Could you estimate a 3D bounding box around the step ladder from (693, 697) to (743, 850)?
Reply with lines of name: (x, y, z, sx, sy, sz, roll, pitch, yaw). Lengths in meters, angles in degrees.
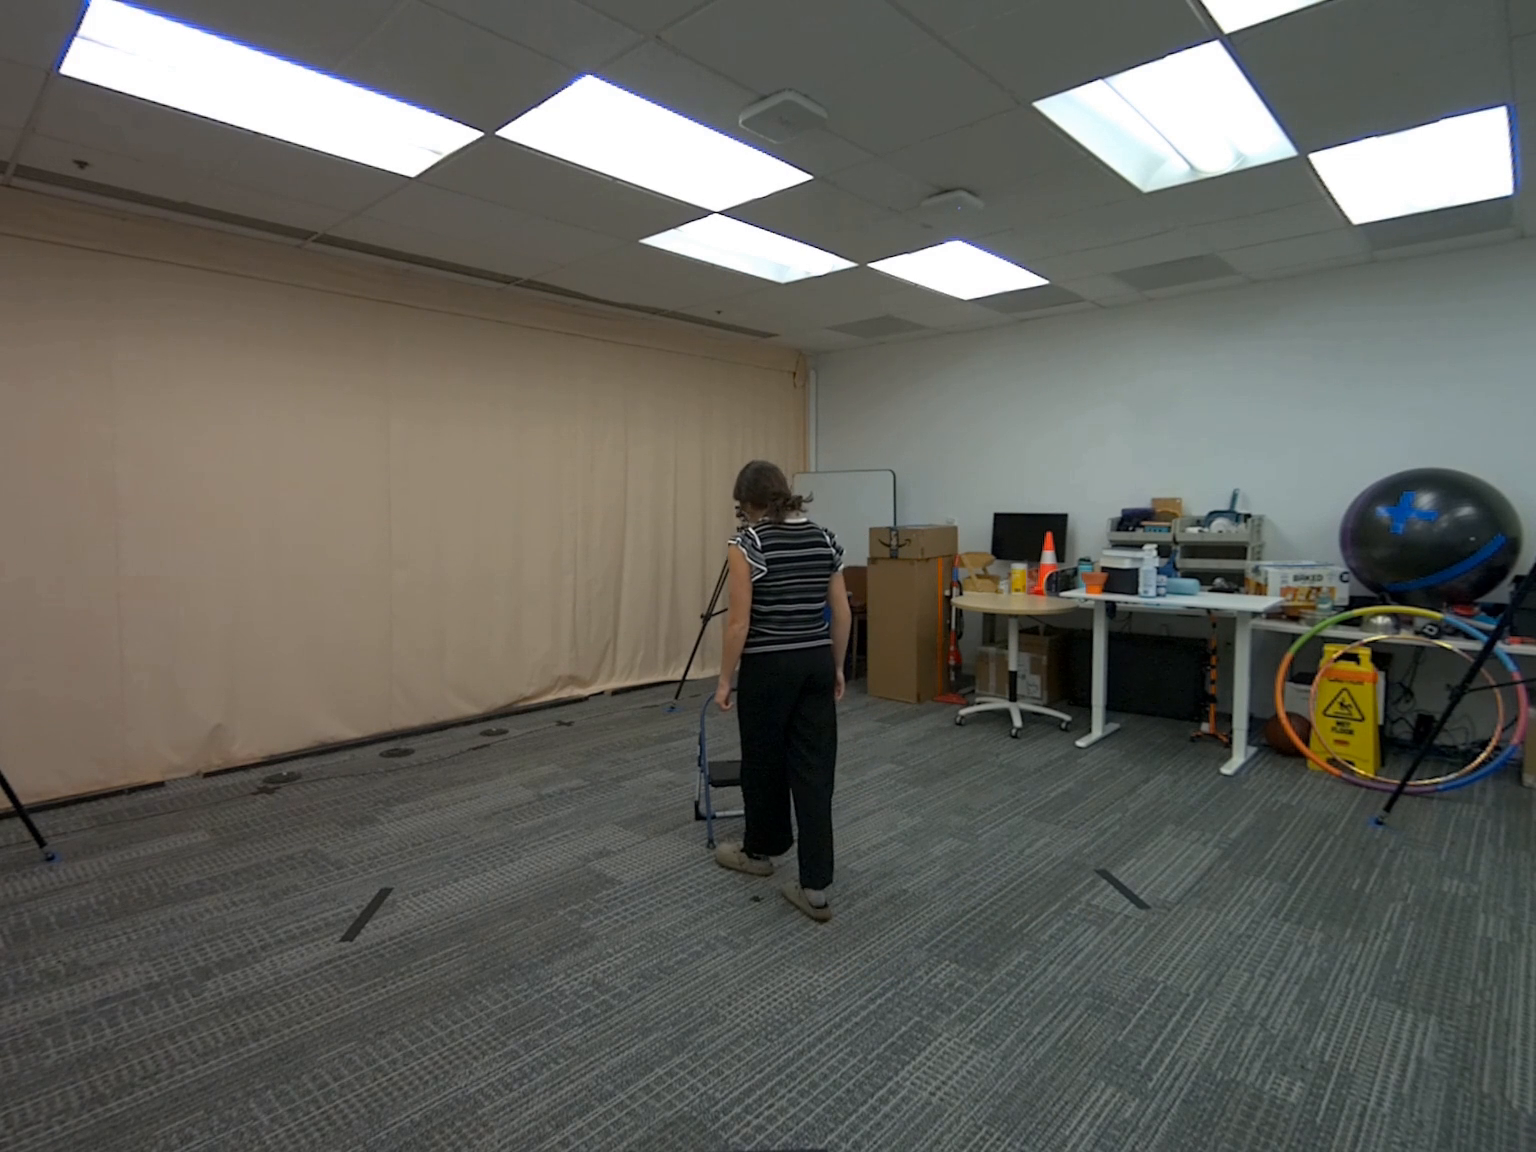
step ladder: (-0.083, 0.794, 3.619, 0.425, 0.605, 0.355, -1, 3, -14)
